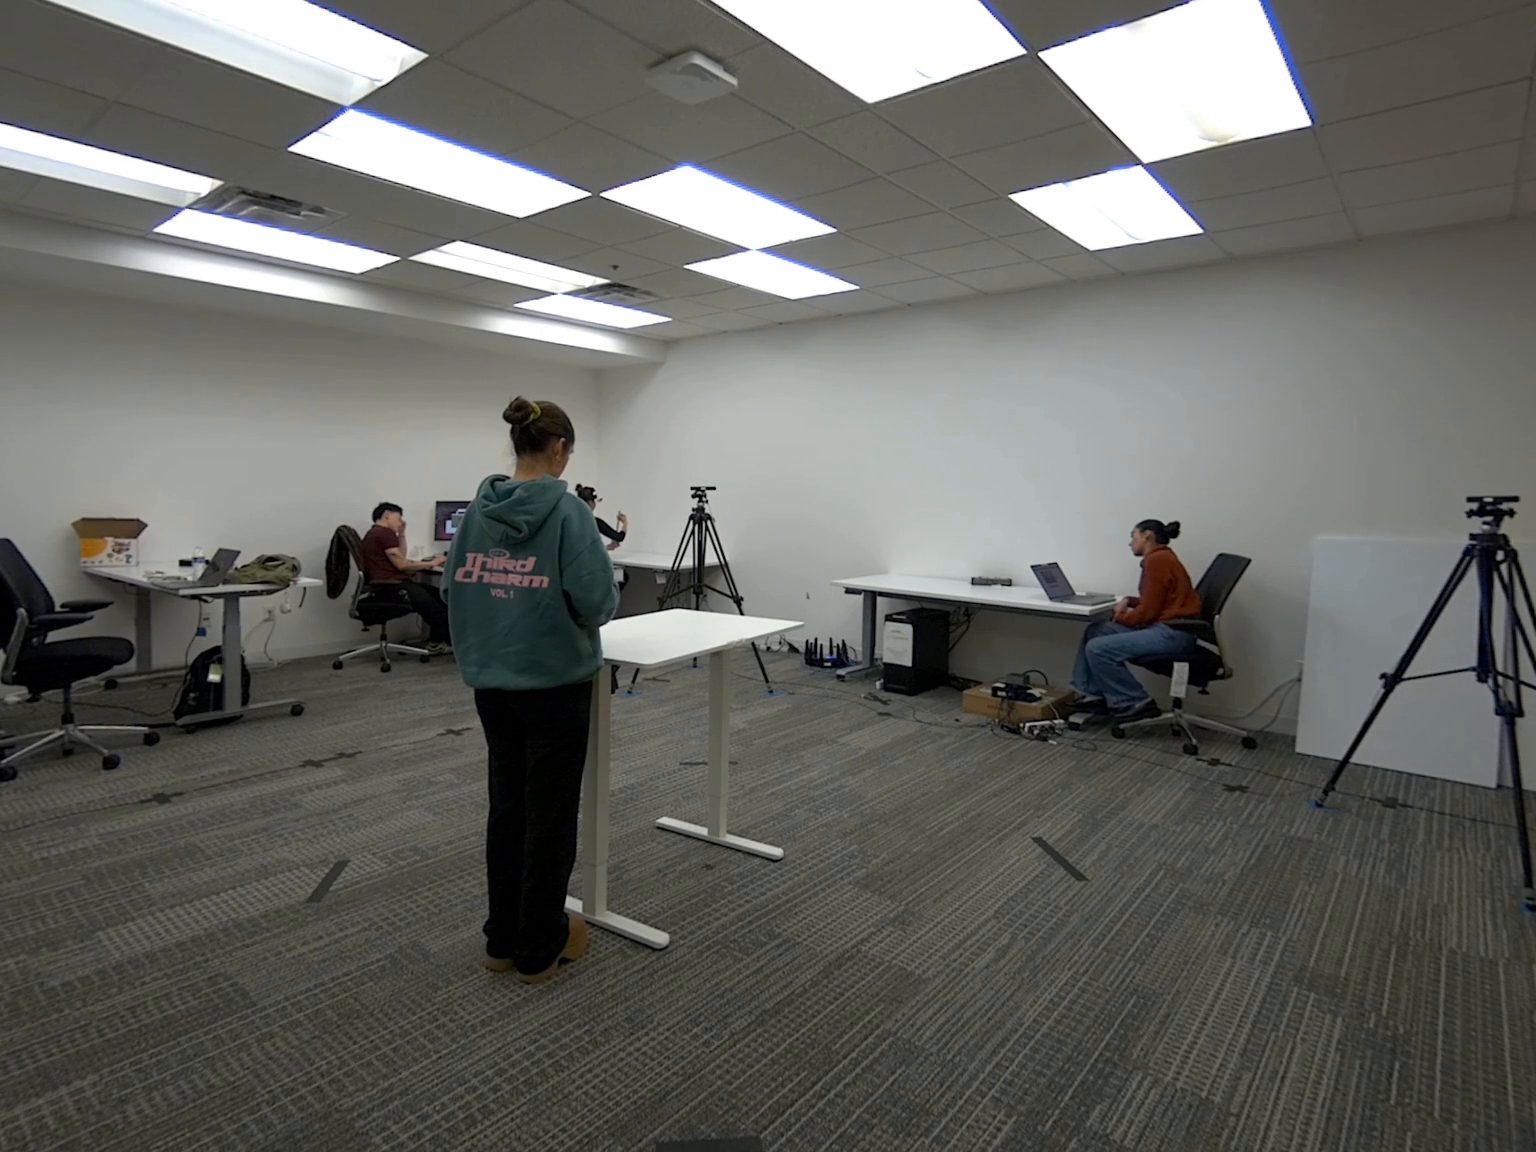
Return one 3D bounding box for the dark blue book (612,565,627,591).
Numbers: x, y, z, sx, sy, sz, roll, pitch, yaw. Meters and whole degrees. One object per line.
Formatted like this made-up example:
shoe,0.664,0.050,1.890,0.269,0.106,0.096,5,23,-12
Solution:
dark blue book,-0.599,-0.008,2.728,0.169,0.045,0.237,5,6,44
